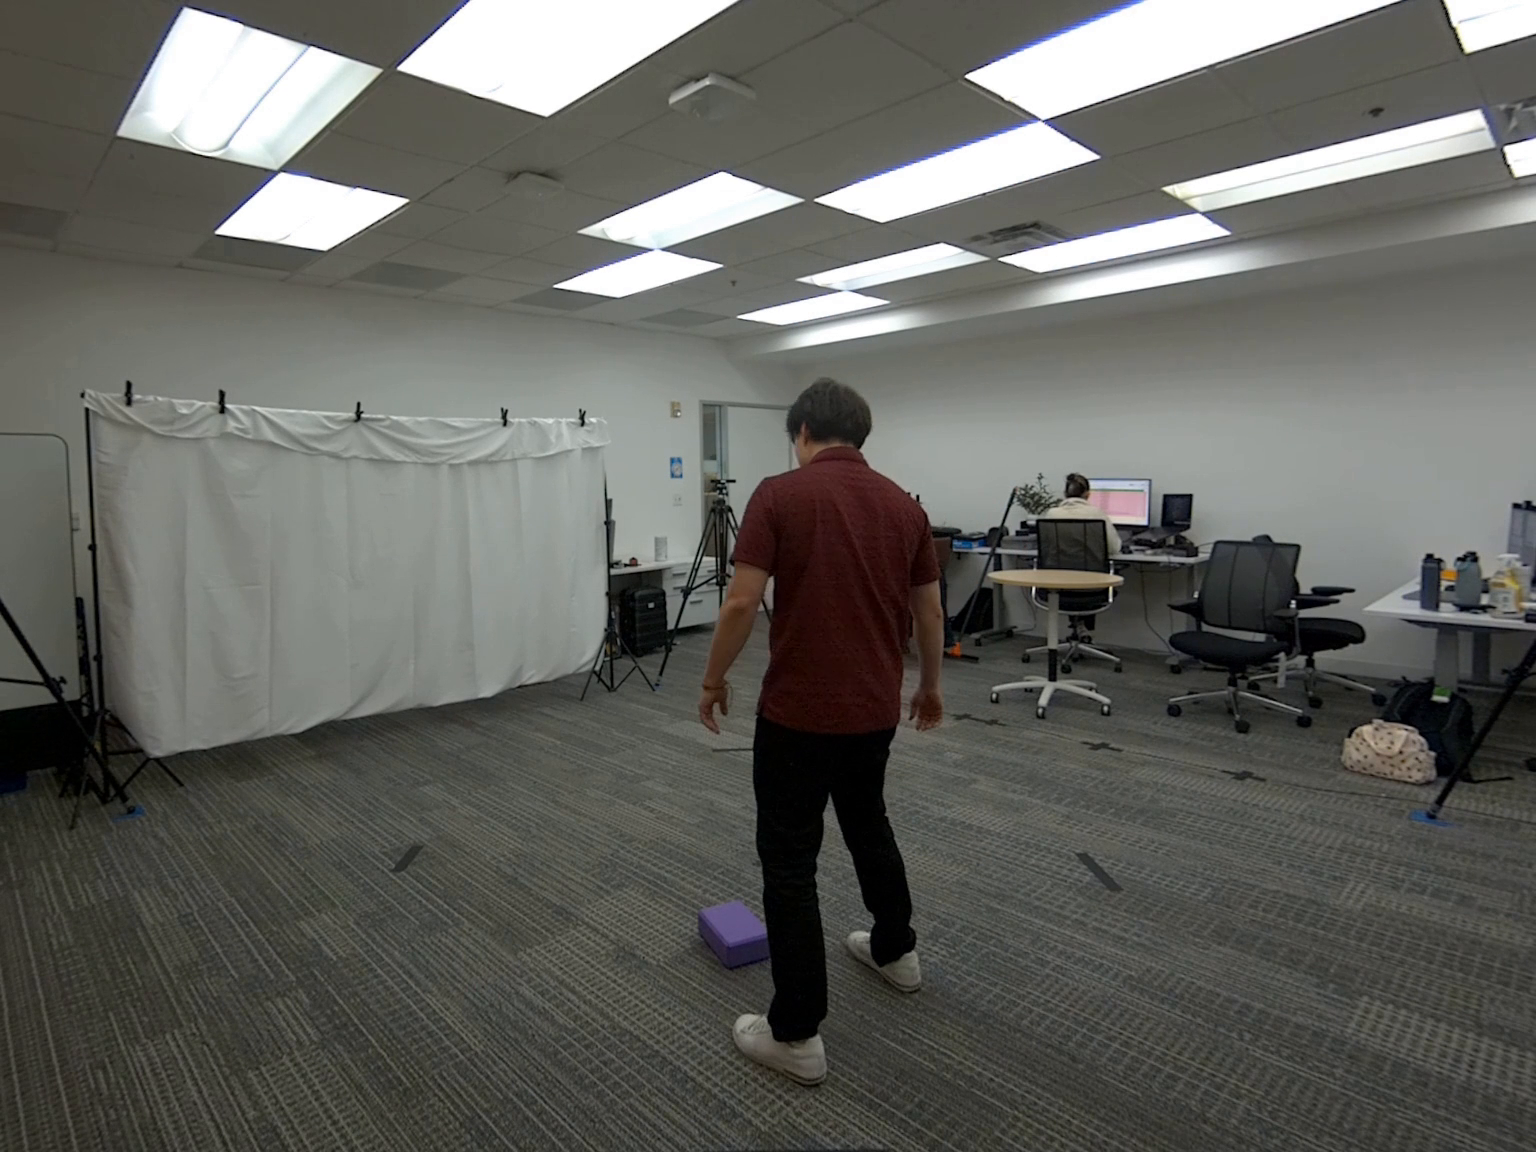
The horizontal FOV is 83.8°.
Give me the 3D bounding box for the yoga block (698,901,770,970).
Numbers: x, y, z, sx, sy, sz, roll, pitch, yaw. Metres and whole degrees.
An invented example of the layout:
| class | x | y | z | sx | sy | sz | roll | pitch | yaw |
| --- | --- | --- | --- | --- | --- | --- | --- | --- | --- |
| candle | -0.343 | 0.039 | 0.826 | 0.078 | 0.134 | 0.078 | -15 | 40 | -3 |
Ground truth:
| class | x | y | z | sx | sy | sz | roll | pitch | yaw |
| --- | --- | --- | --- | --- | --- | --- | --- | --- | --- |
| yoga block | -0.096 | 1.071 | 2.563 | 0.146 | 0.076 | 0.235 | -4 | 7 | -26 |
